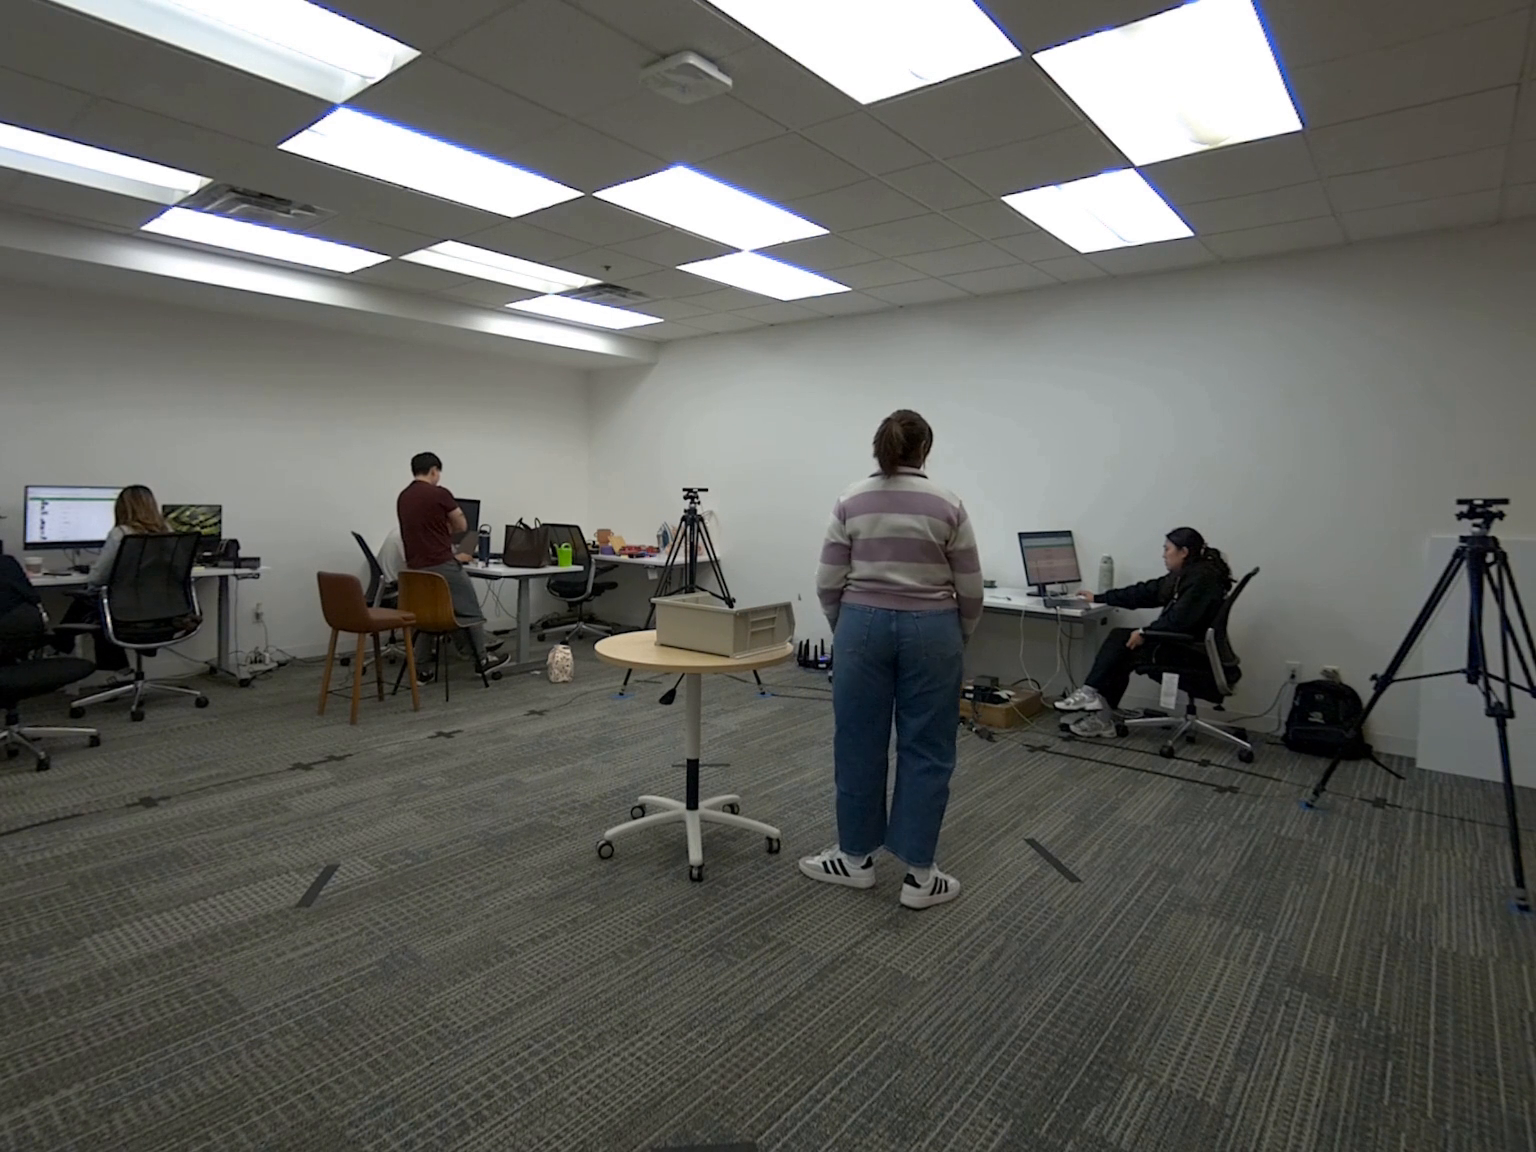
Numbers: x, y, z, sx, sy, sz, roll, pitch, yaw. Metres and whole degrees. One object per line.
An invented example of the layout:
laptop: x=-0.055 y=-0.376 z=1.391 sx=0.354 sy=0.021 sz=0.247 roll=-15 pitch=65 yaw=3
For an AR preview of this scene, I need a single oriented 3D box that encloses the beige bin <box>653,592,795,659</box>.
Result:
beige bin: x=-0.181 y=0.179 z=3.292 sx=0.436 sy=0.188 sz=0.367 roll=5 pitch=8 yaw=38
